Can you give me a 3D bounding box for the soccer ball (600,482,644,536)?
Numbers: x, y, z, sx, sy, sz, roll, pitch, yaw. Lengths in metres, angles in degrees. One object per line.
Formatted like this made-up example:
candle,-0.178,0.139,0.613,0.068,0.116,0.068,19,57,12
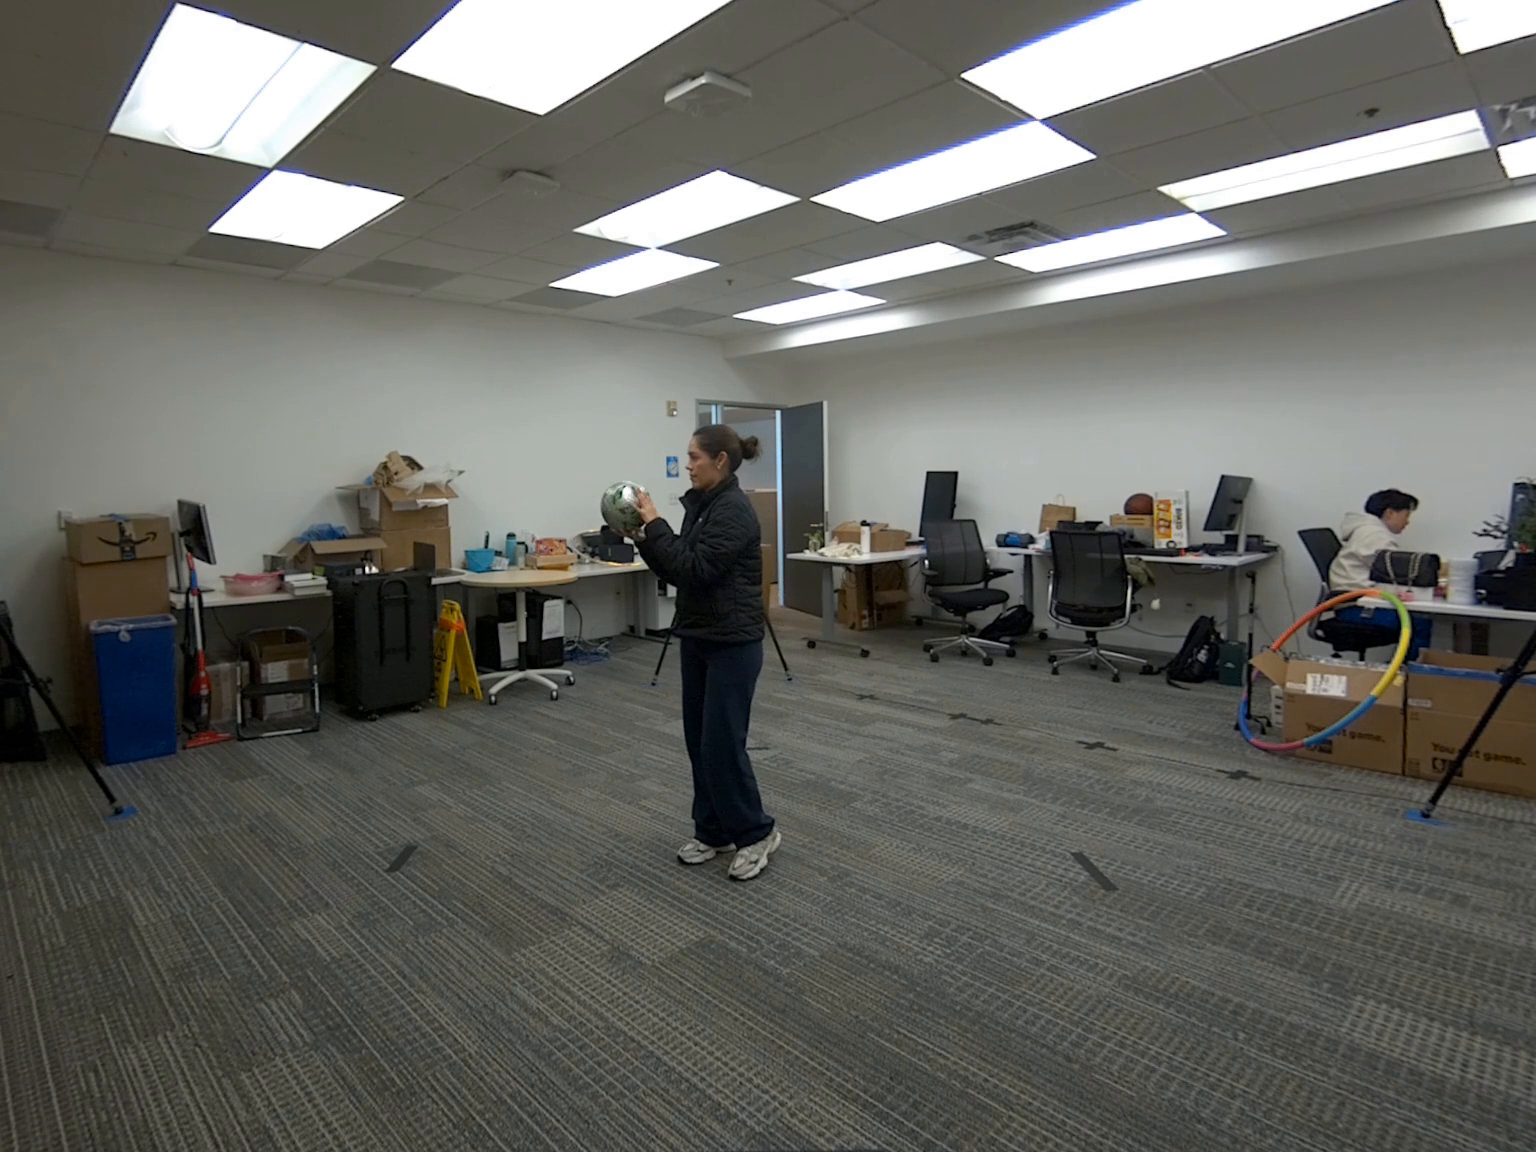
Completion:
soccer ball,-0.499,-0.257,3.088,0.187,0.187,0.188,-1,5,-2
